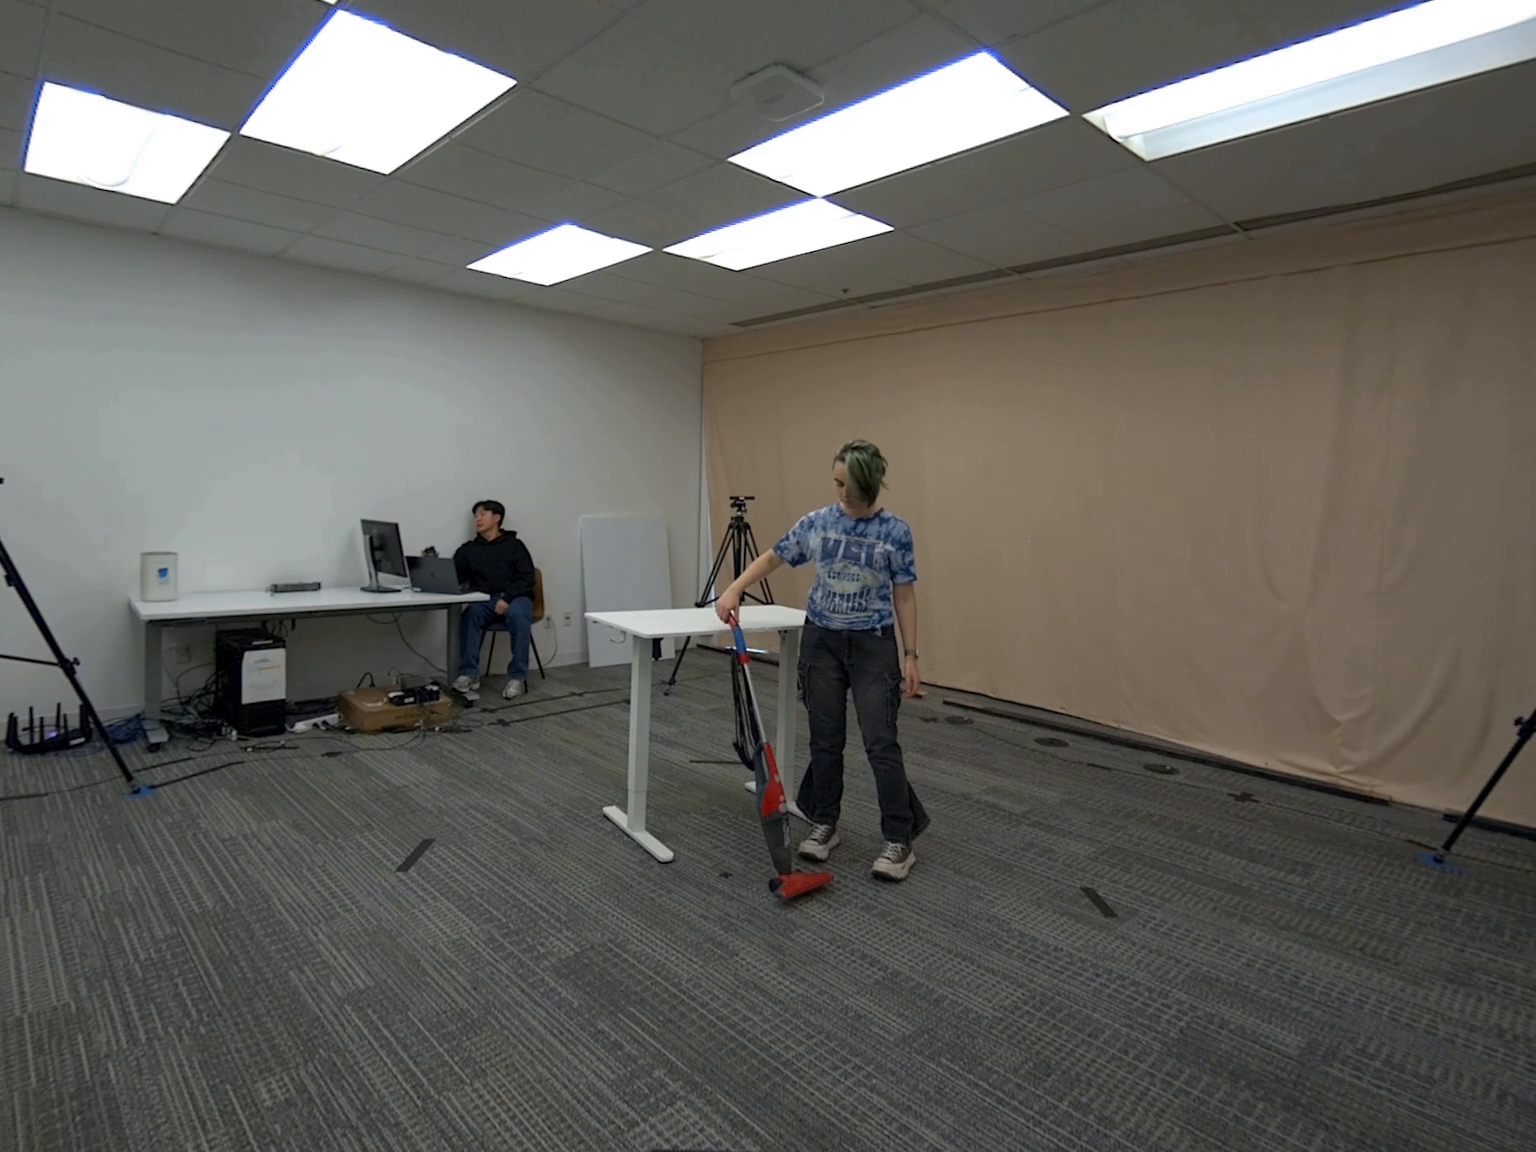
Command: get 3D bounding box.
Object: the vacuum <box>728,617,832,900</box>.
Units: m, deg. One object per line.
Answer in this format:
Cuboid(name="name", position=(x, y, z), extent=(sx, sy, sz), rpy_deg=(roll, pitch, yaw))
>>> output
Cuboid(name="vacuum", position=(-0.045, 0.622, 3.116), extent=(0.246, 1.065, 0.145), rpy_deg=(2, -24, -45))
